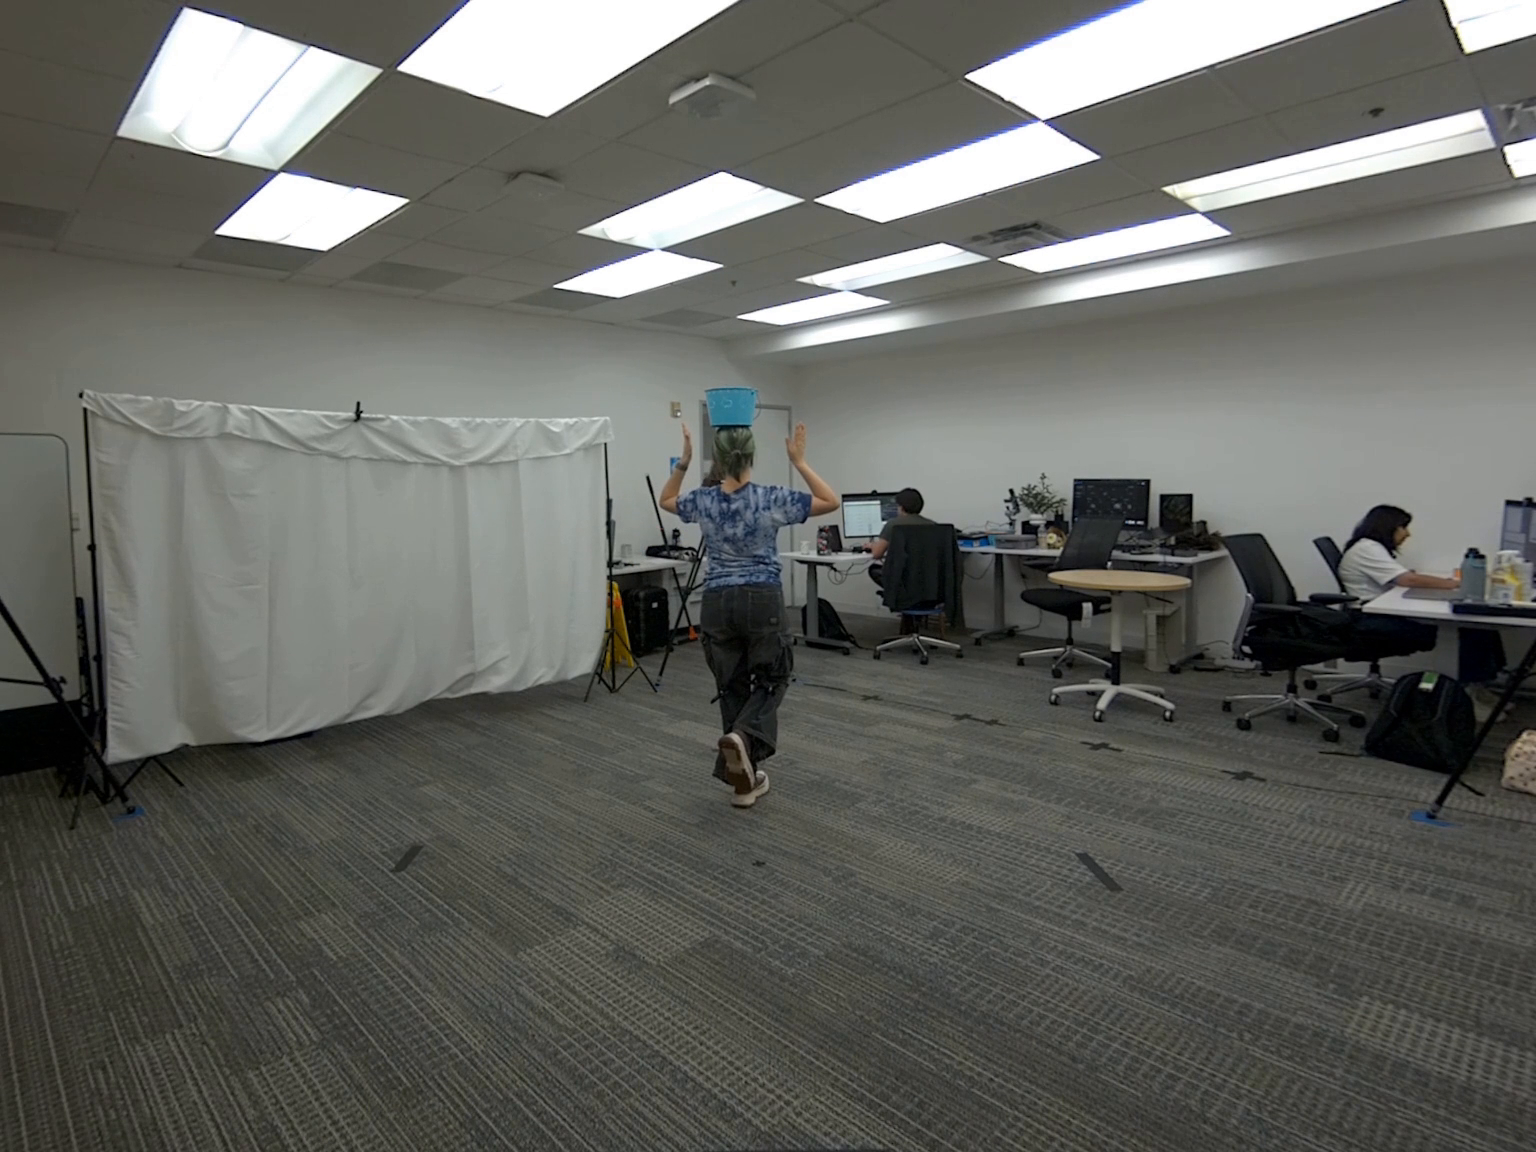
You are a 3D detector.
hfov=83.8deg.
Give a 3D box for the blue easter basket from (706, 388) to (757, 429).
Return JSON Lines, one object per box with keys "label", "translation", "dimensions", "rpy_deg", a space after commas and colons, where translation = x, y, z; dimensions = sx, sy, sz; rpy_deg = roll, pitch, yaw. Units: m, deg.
{"label": "blue easter basket", "translation": [-0.158, -0.720, 3.672], "dimensions": [0.243, 0.155, 0.244], "rpy_deg": [-1, 4, -2]}
